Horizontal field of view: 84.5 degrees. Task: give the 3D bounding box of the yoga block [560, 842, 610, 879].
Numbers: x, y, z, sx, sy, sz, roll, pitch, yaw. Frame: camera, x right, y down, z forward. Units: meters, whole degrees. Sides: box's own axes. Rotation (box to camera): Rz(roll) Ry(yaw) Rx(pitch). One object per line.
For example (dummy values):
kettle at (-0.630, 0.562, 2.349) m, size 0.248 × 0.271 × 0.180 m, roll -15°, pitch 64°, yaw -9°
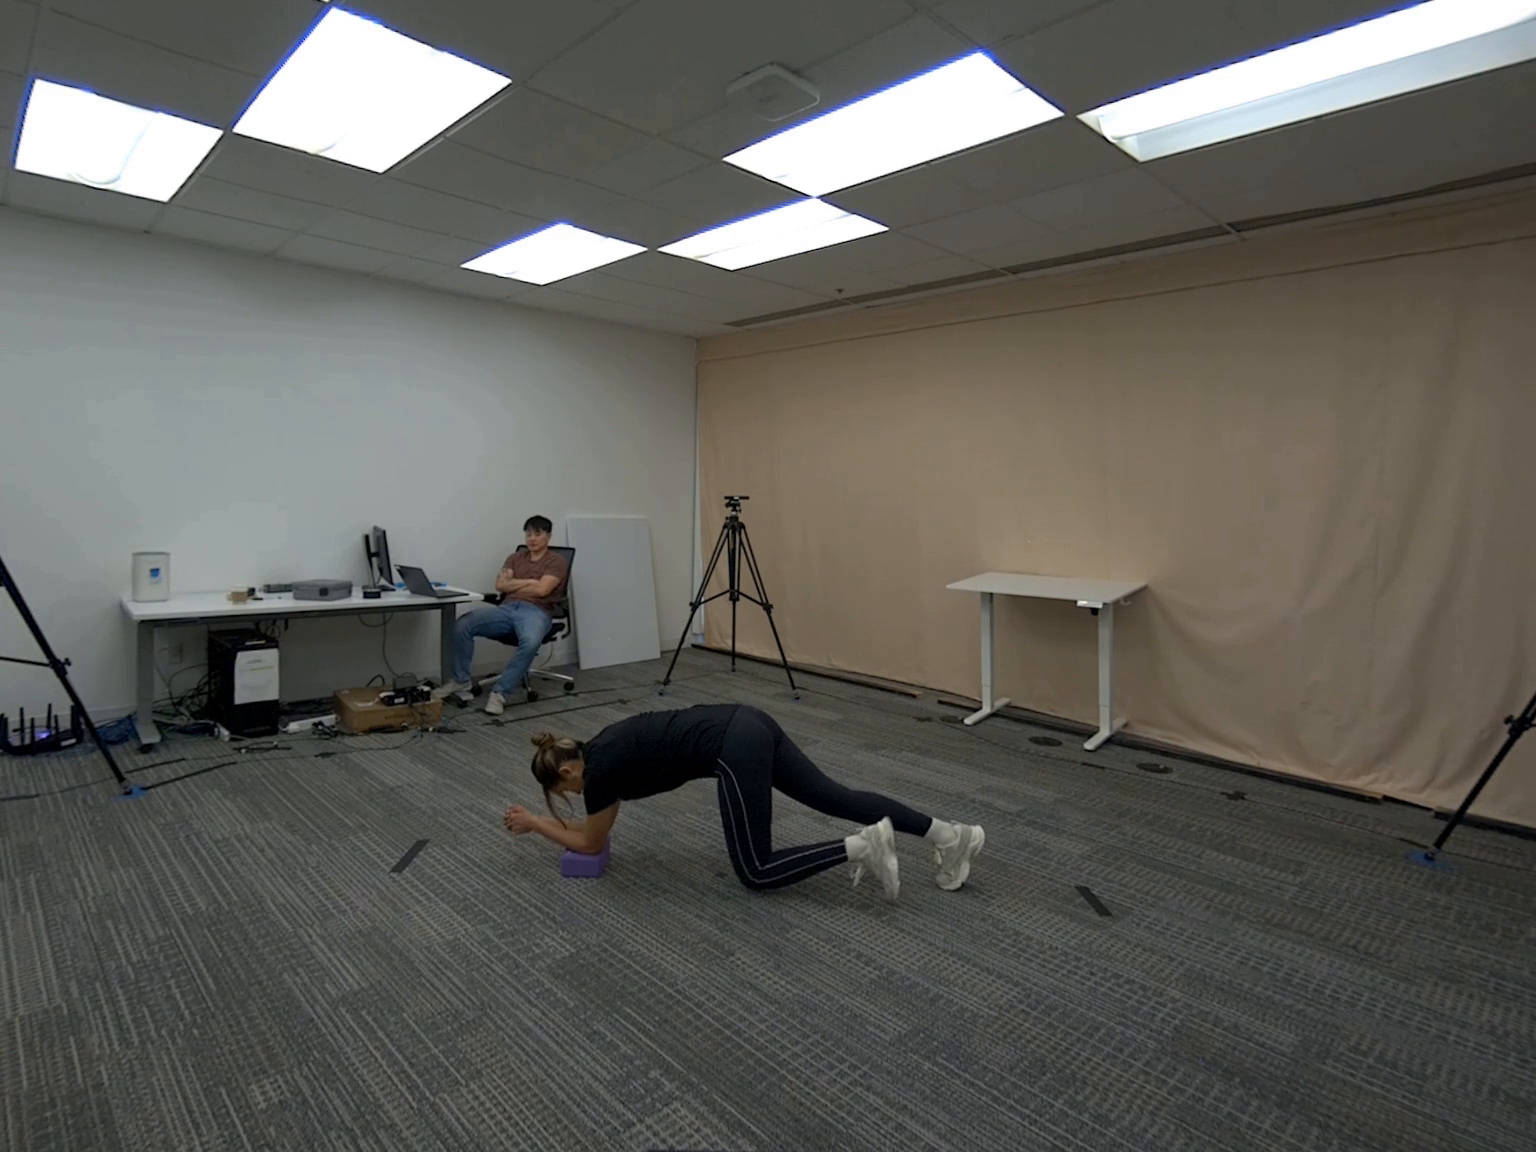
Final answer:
yoga block at (-0.683, 1.040, 3.165) m, size 0.149 × 0.076 × 0.230 m, roll 0°, pitch 5°, yaw 0°
